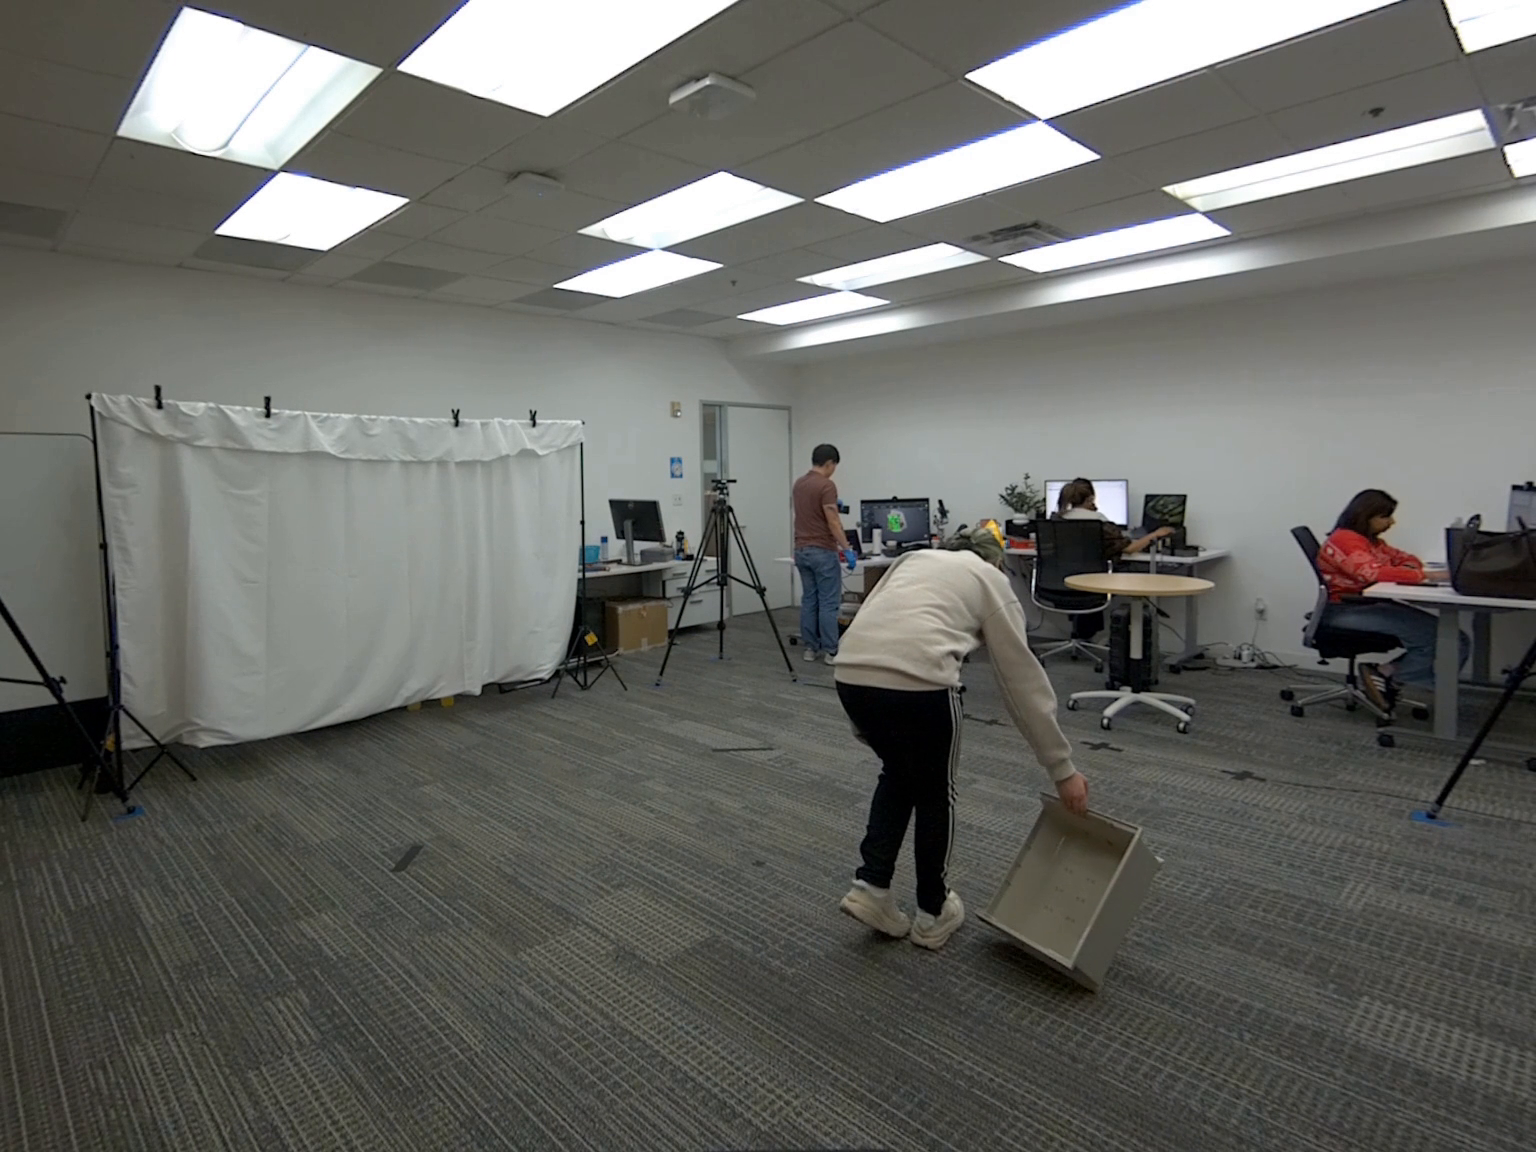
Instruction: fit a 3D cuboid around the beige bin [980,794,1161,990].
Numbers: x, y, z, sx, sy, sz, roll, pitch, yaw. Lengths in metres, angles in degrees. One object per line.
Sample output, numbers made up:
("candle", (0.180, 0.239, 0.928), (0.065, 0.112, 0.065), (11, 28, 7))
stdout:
("beige bin", (0.856, 0.892, 2.459), (0.183, 0.423, 0.388), (47, -20, -28))
